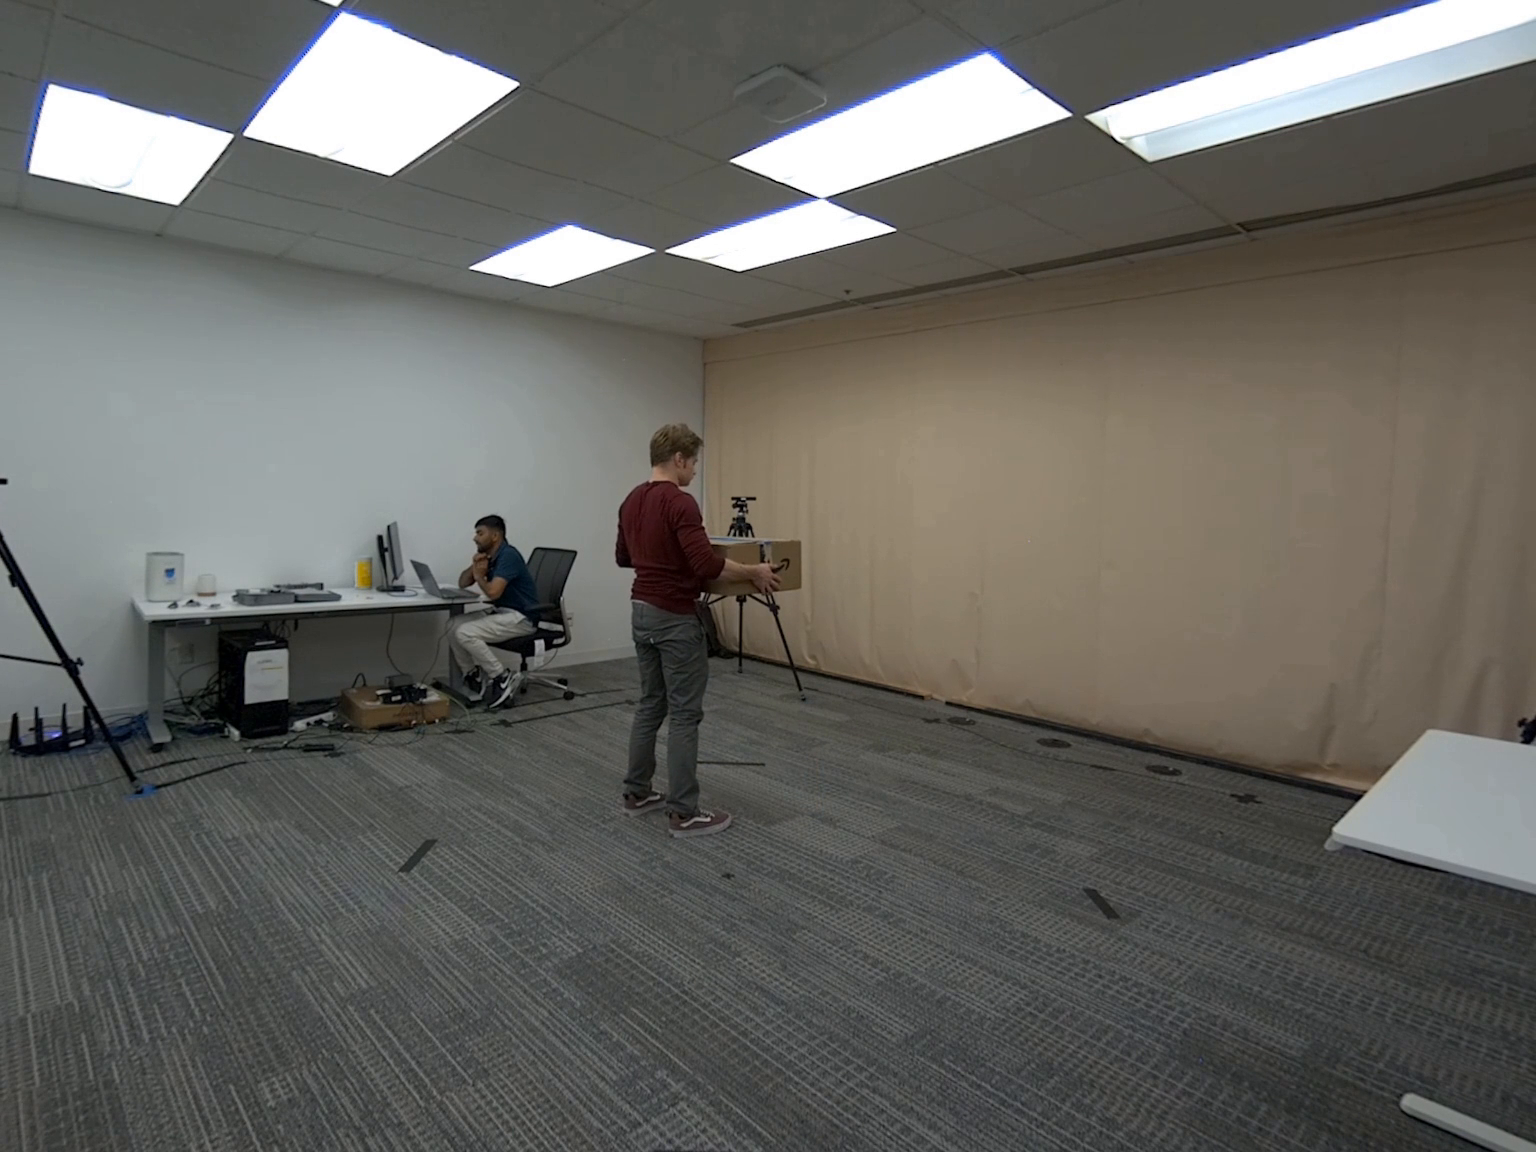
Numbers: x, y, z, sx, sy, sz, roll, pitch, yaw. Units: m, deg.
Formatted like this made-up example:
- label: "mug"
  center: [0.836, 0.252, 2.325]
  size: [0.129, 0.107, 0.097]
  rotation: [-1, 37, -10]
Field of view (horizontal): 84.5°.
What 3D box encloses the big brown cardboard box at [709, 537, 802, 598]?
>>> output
- label: "big brown cardboard box"
  center: [-0.201, -0.055, 3.806]
  size: [0.408, 0.232, 0.604]
  rotation: [-5, 7, -40]
